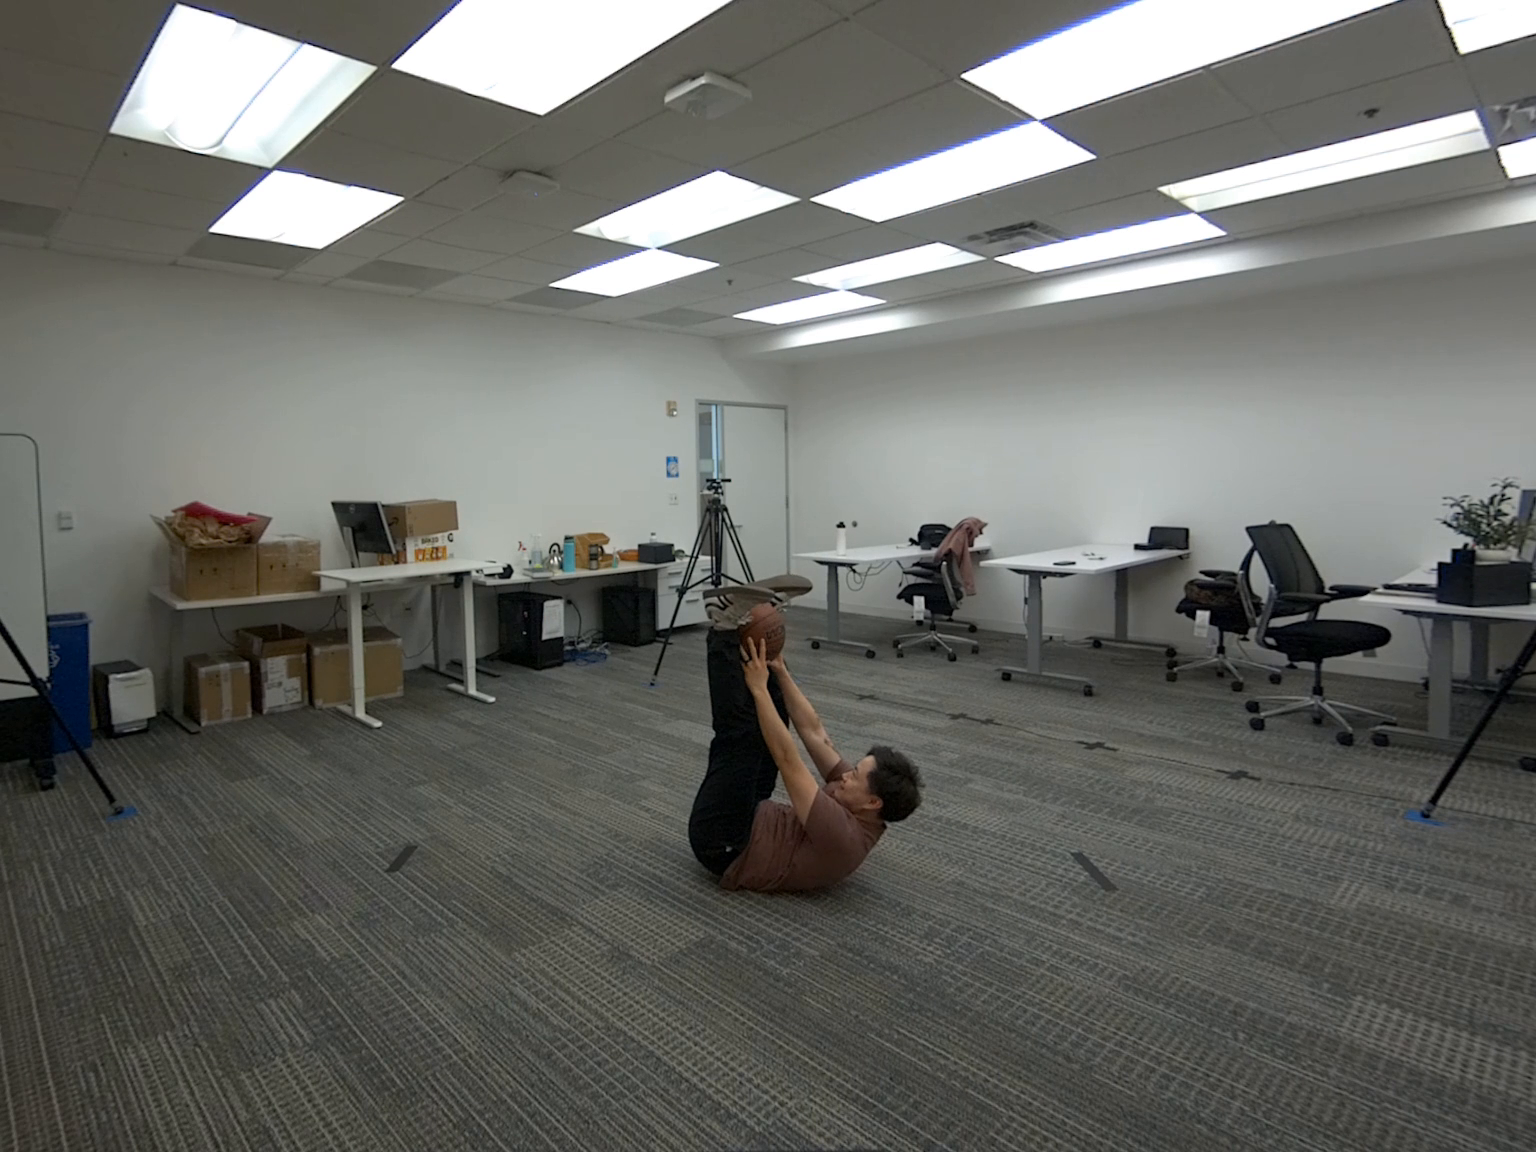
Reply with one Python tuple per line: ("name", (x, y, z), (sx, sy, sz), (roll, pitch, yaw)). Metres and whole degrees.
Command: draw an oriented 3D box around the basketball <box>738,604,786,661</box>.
("basketball", (-0.049, 0.201, 2.972), (0.236, 0.236, 0.236), (0, 1, -2))
